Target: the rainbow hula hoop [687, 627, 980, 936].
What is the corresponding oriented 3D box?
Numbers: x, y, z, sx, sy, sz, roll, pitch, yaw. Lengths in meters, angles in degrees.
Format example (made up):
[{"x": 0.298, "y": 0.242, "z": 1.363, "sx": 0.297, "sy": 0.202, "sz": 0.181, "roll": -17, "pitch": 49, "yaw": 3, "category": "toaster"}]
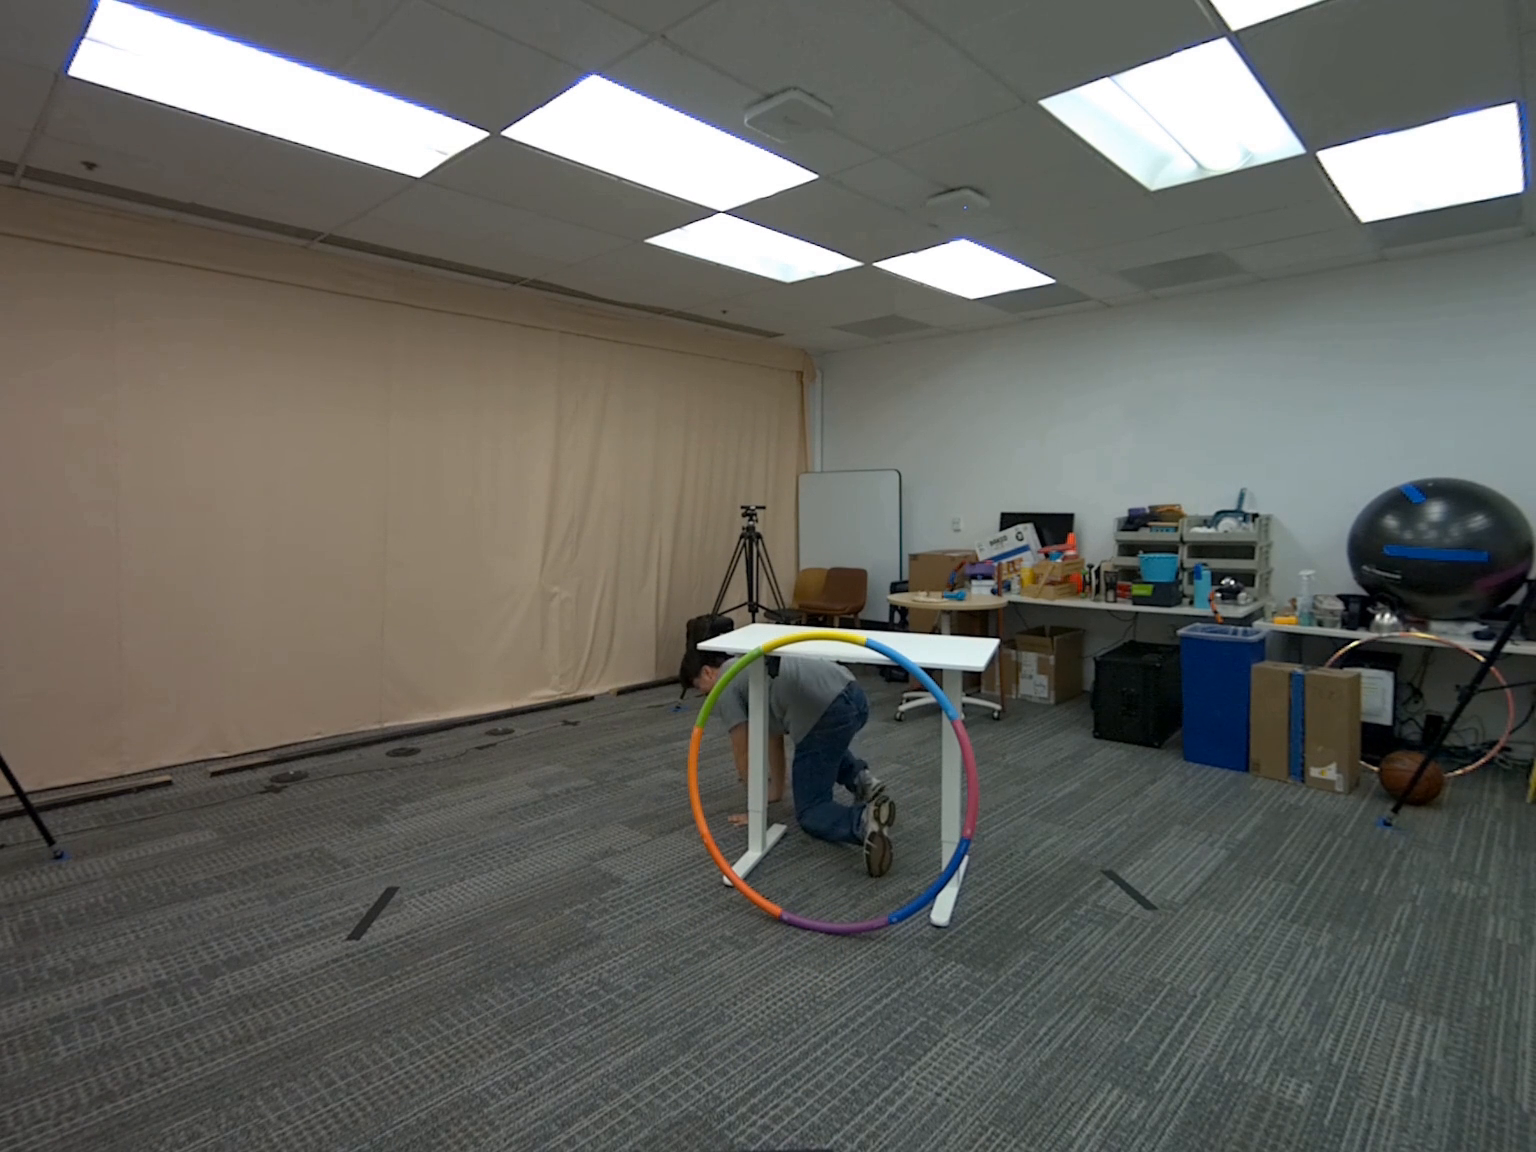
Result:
[{"x": 0.188, "y": 0.678, "z": 2.809, "sx": 1.000, "sy": 0.982, "sz": 0.034, "roll": 1, "pitch": -7, "yaw": 21, "category": "rainbow hula hoop"}]
